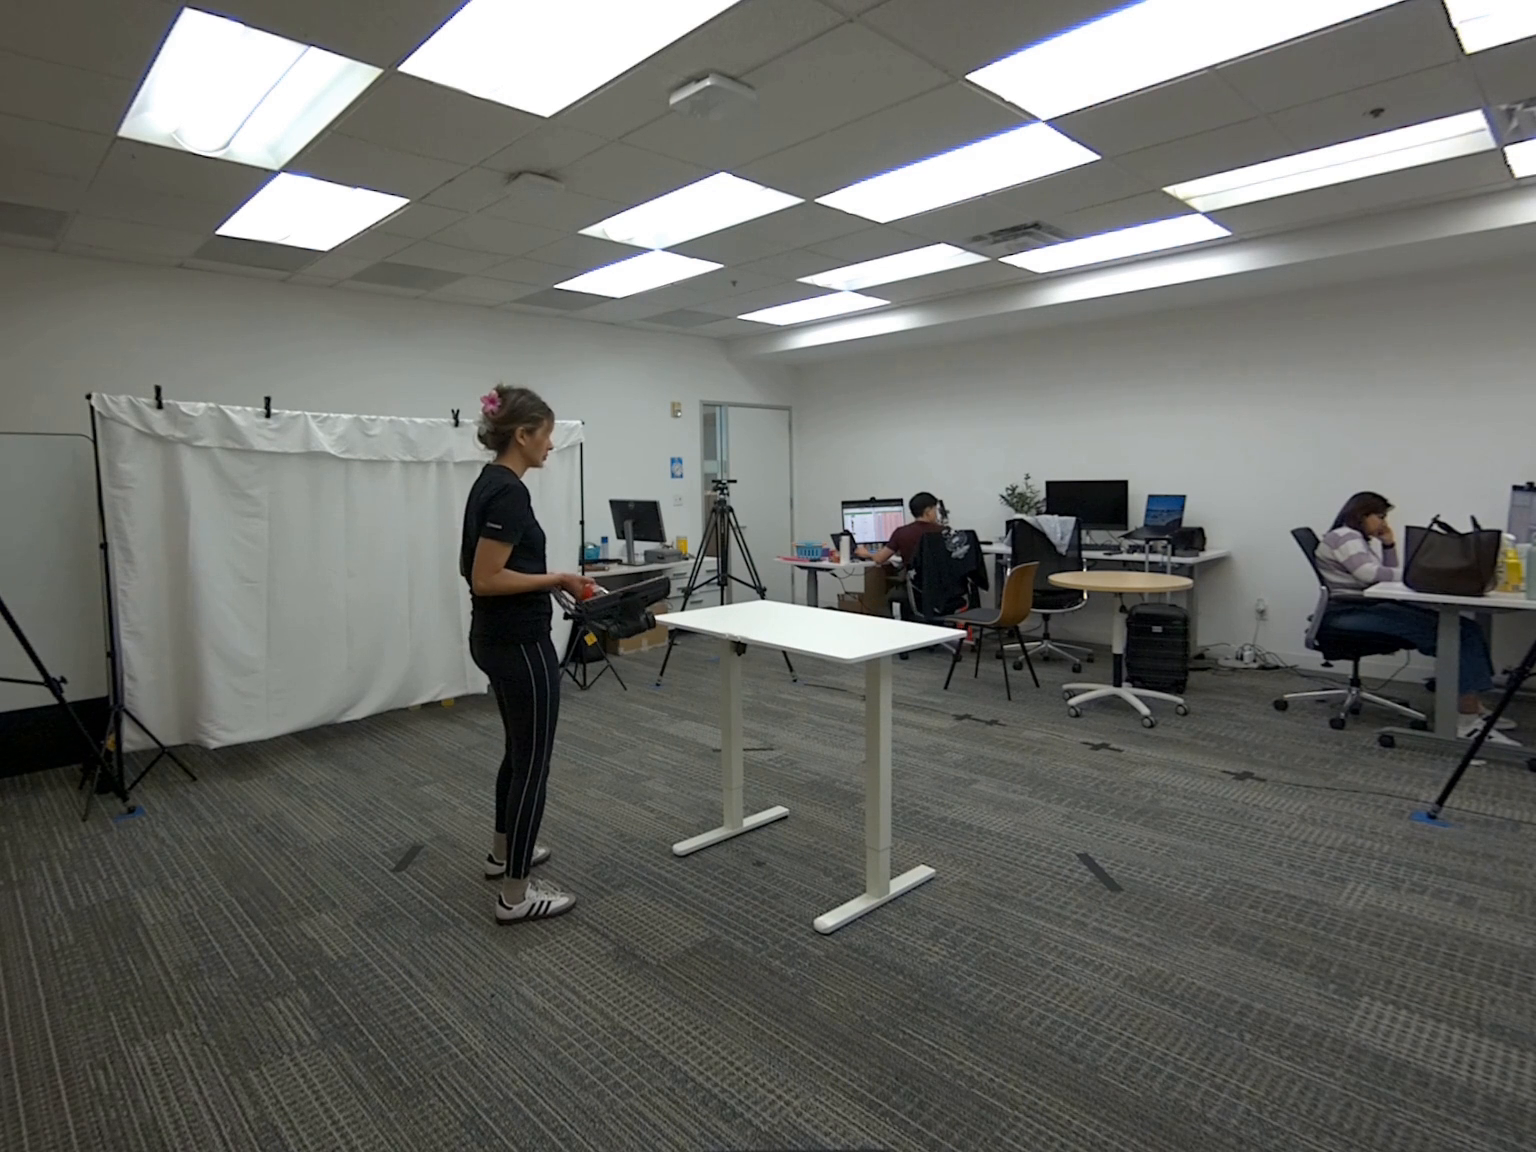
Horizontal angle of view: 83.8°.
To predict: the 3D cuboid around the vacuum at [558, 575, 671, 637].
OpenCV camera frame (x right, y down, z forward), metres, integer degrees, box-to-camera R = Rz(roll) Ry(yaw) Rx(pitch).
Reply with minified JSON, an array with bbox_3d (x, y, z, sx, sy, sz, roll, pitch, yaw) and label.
[{"bbox_3d":[-0.605,0.086,2.804,0.249,0.143,1.073,-17,9,-24],"label":"vacuum"}]
